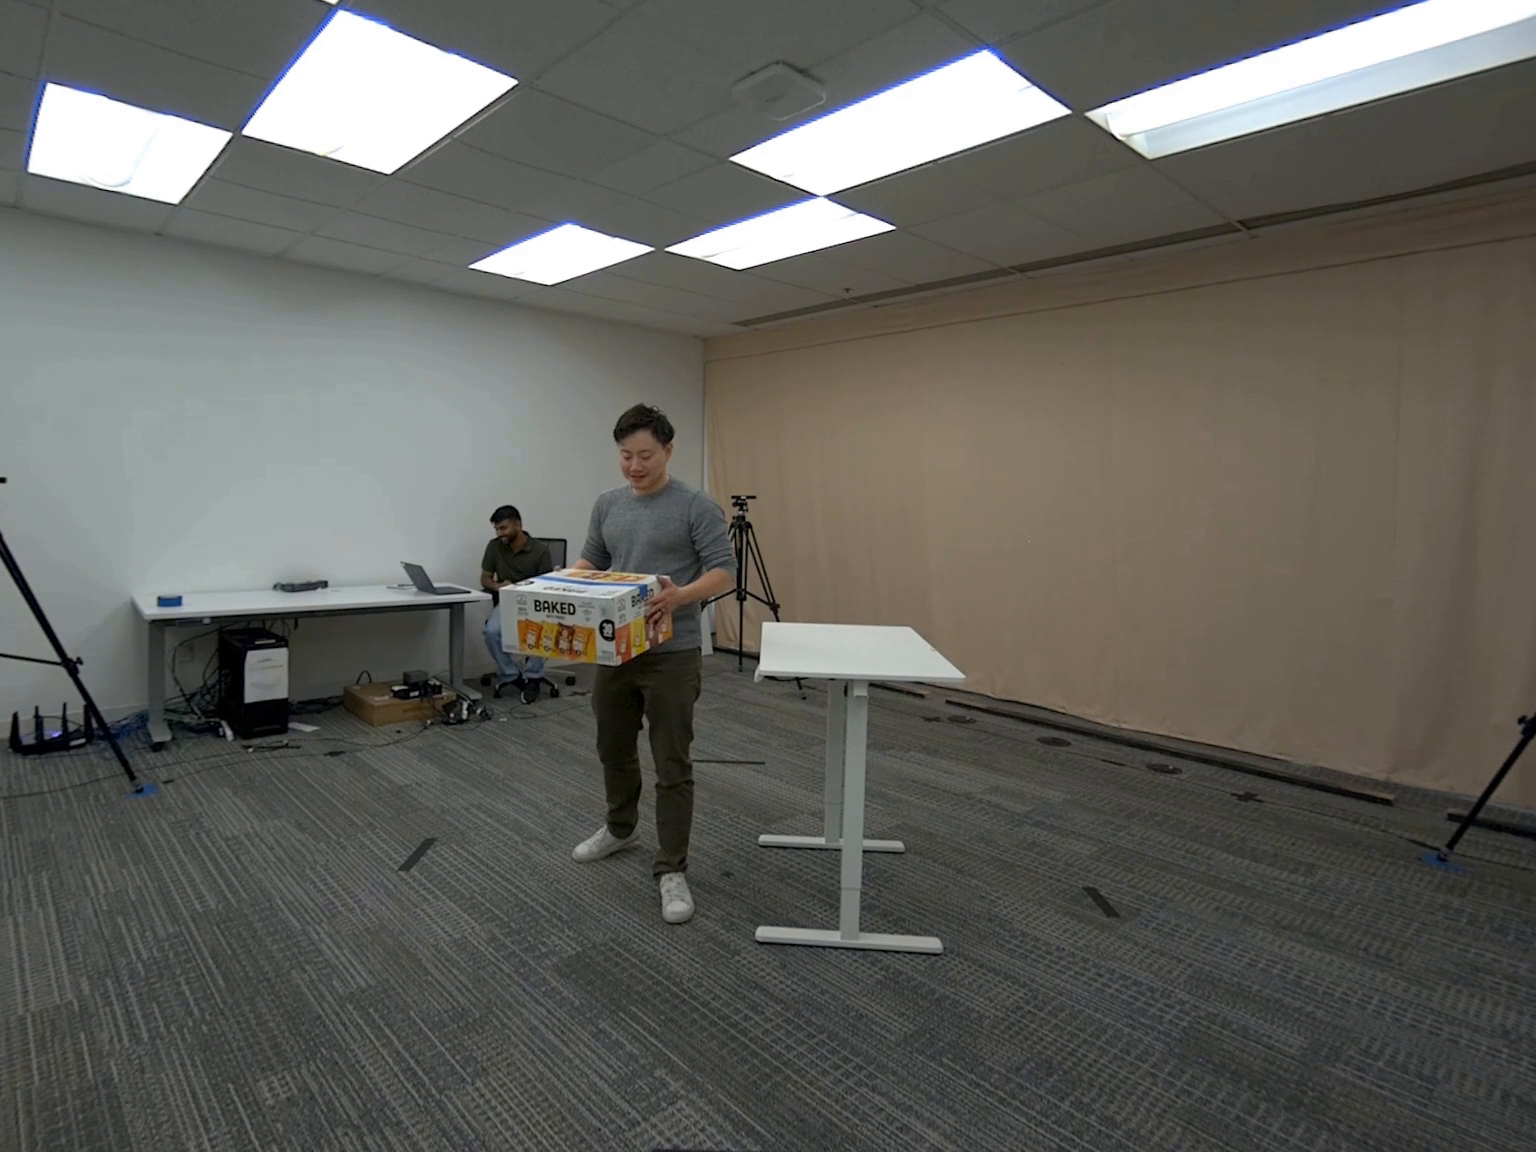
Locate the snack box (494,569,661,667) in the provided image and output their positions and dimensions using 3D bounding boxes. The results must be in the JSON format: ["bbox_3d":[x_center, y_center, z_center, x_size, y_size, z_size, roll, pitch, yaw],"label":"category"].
[{"bbox_3d":[-0.570,0.120,2.619,0.413,0.204,0.336,4,11,23],"label":"snack box"}]
